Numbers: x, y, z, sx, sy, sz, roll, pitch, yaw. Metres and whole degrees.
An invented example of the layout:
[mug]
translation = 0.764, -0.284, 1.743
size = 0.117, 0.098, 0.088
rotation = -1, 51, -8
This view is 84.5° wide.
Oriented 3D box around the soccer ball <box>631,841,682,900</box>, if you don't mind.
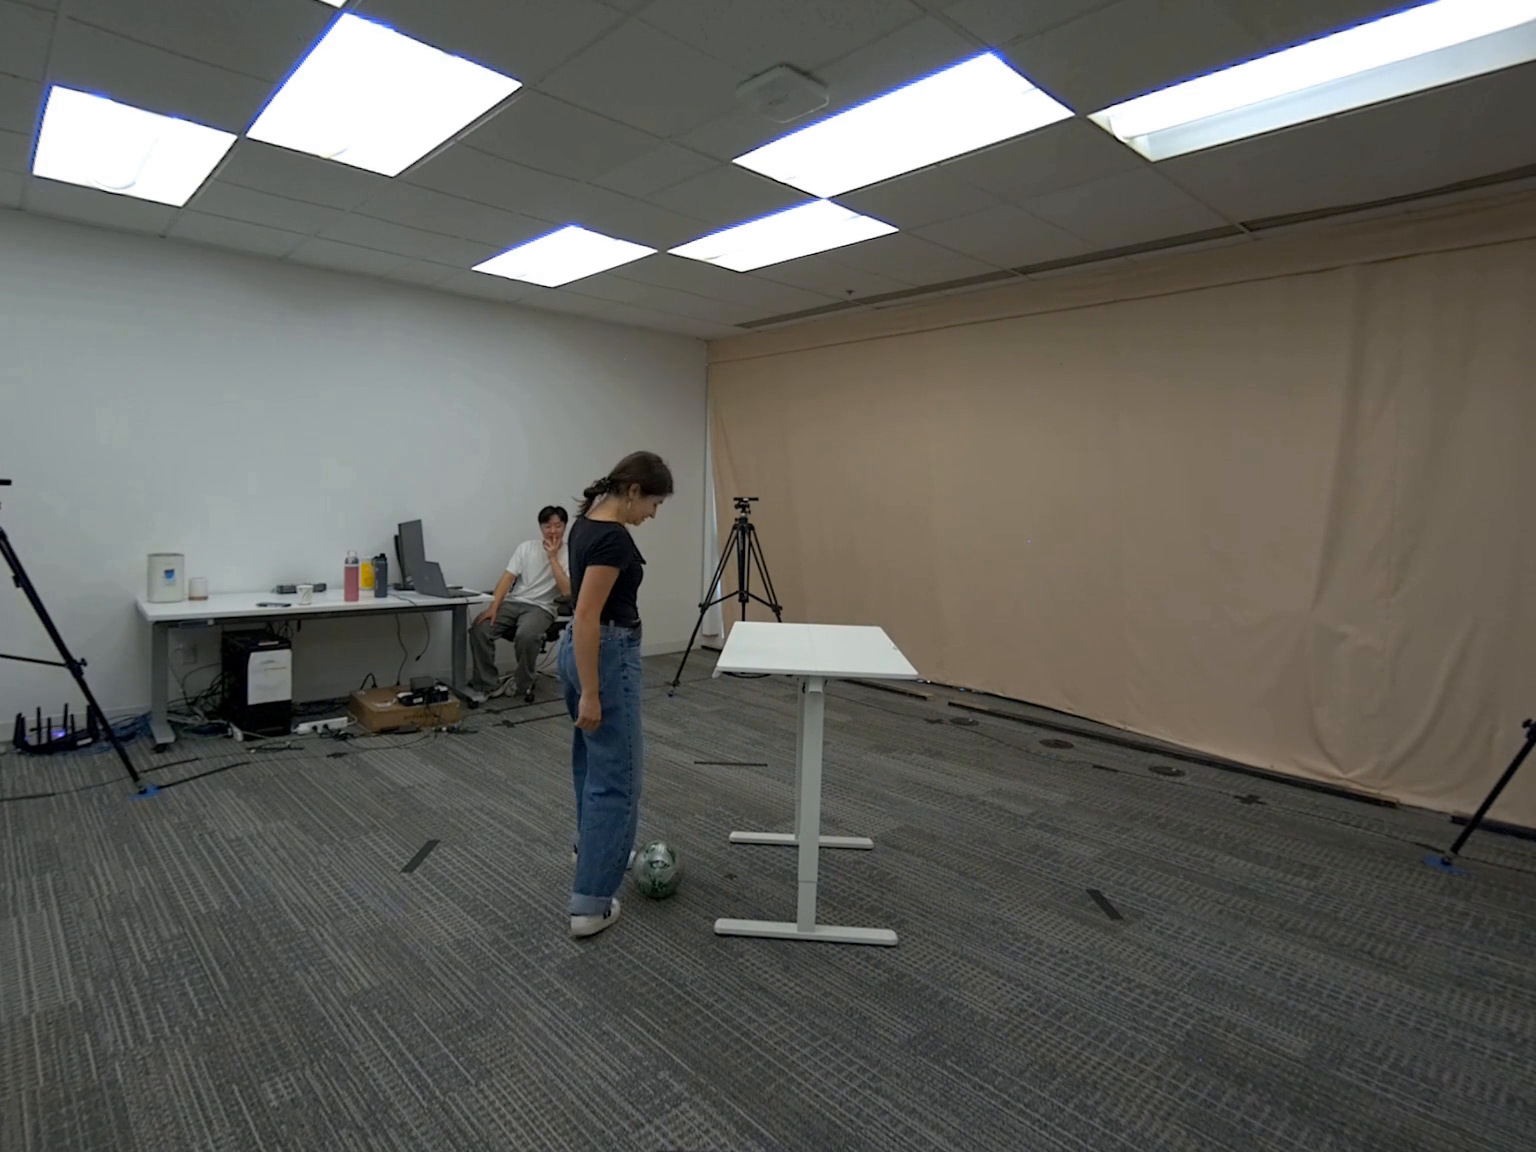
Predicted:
[soccer ball]
translation = -0.385, 1.033, 2.937
size = 0.187, 0.187, 0.188
rotation = 1, 4, -1
